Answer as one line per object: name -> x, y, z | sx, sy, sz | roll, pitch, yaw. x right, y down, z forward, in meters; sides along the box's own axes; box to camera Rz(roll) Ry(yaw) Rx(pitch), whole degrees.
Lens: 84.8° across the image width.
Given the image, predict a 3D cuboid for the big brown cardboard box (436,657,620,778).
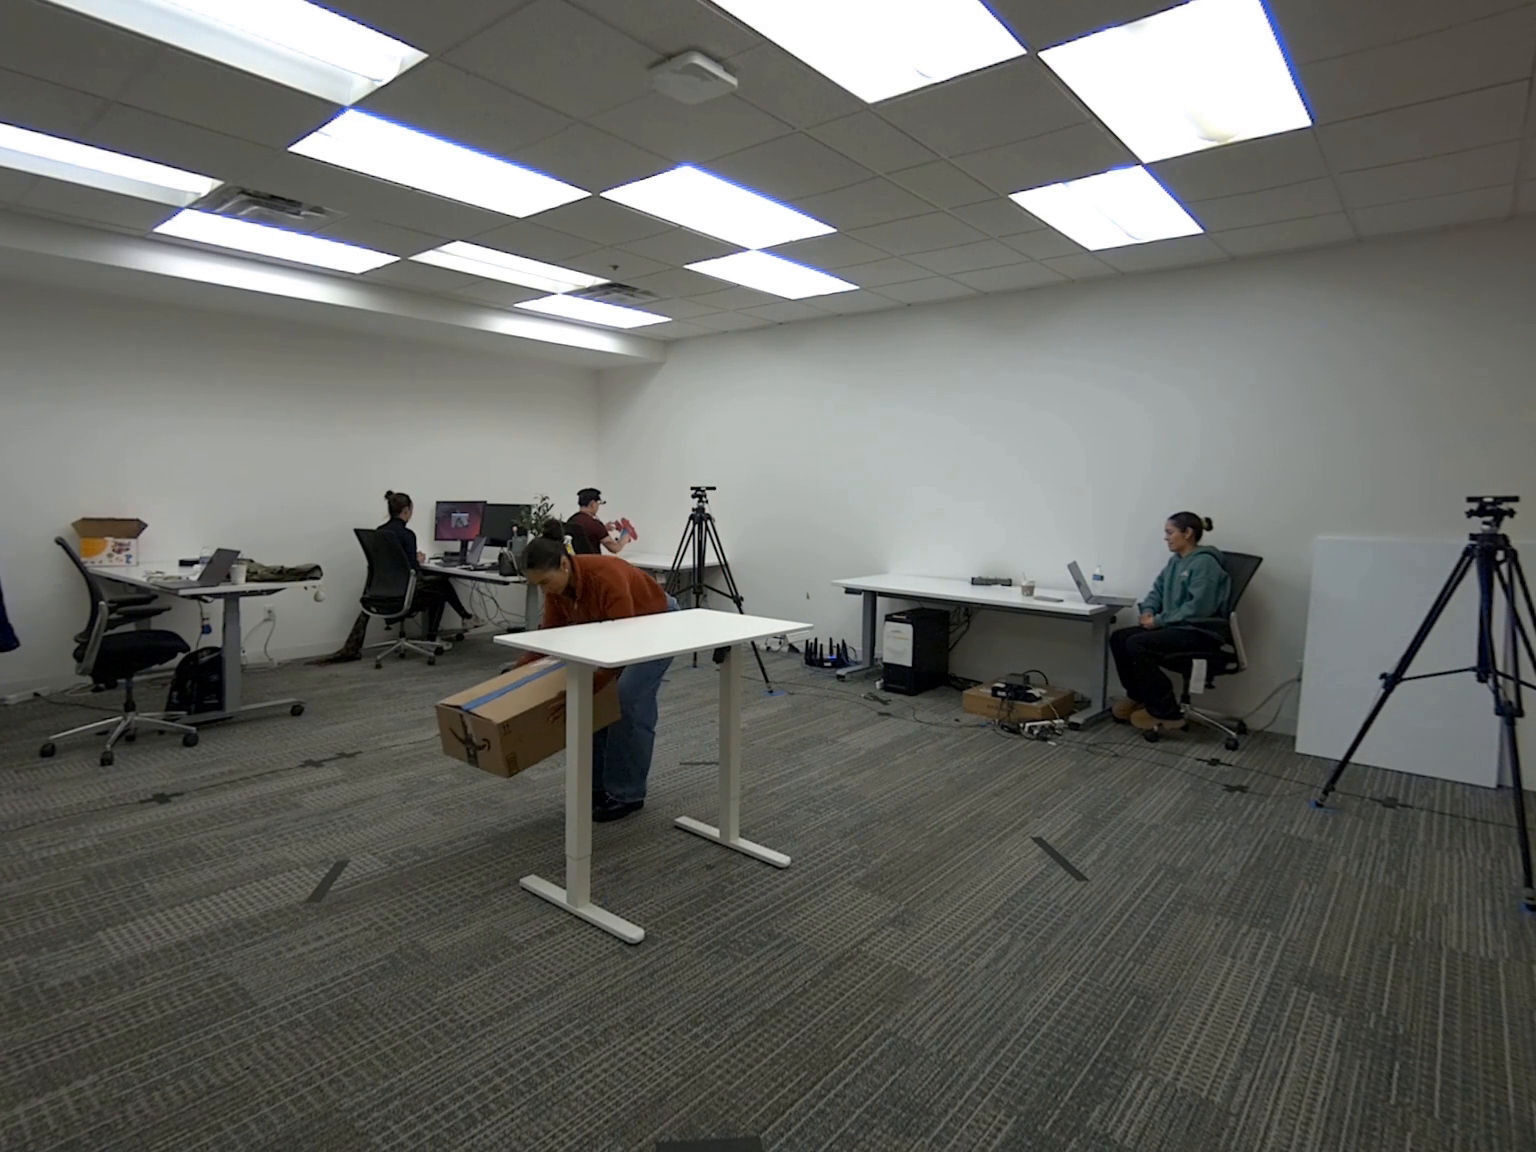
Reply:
big brown cardboard box -> -0.947, 0.522, 3.331 | 0.431, 0.230, 0.578 | 4, 18, 38
